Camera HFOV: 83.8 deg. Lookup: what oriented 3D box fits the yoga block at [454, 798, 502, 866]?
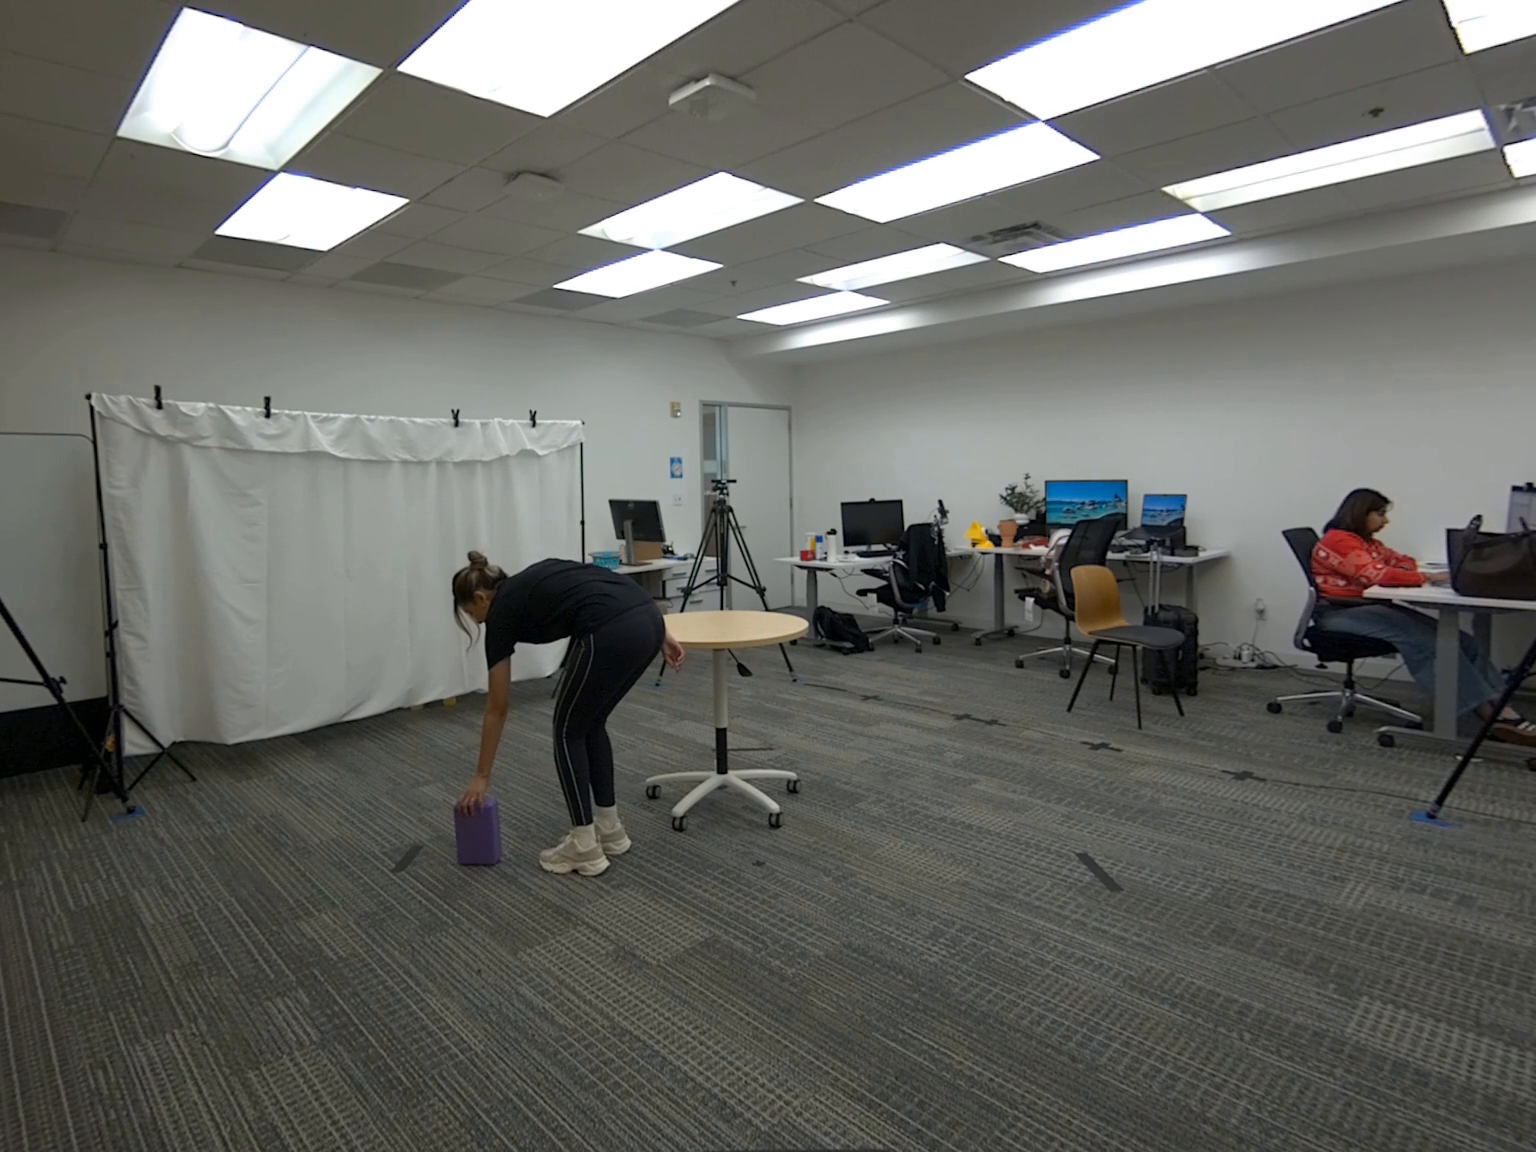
[{"bbox_3d":[-1.071,0.944,3.158,0.150,0.228,0.076,-2,7,7],"label":"yoga block"}]
